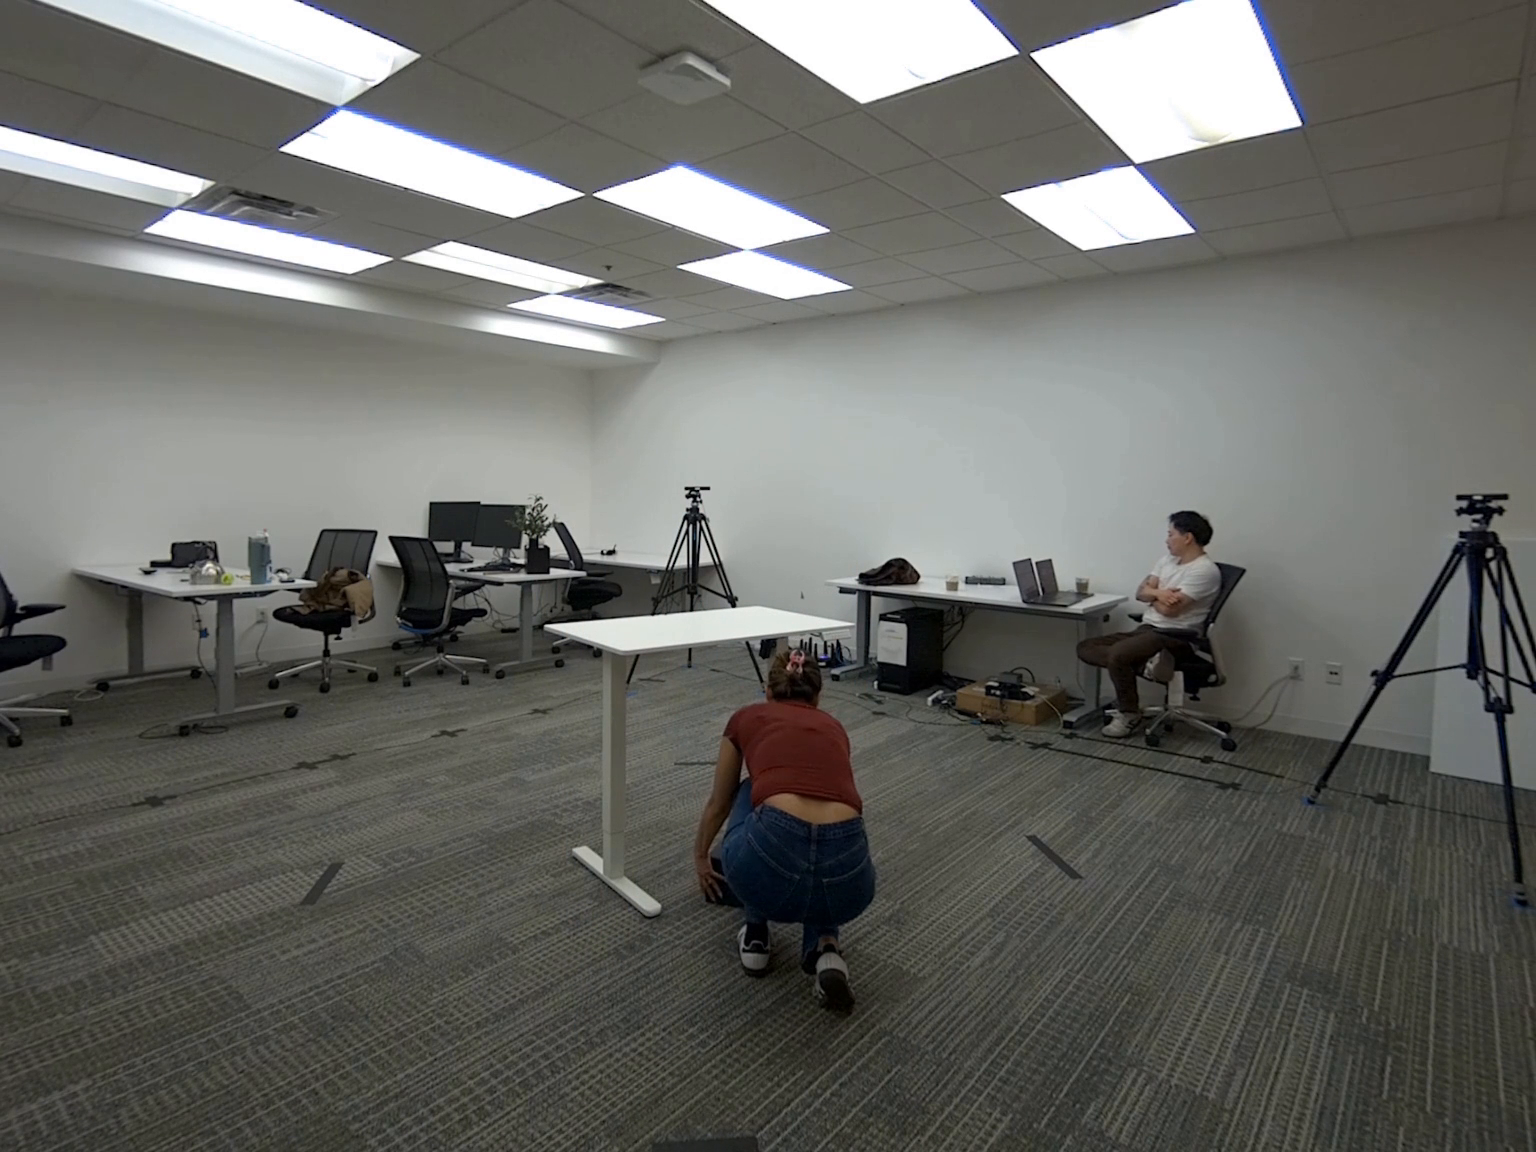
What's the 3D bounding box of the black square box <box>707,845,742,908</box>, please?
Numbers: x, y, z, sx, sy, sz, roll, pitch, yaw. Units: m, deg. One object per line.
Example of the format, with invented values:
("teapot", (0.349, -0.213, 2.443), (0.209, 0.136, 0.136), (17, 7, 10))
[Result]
("black square box", (-0.082, 1.002, 2.909), (0.221, 0.155, 0.224), (4, 4, 18))
